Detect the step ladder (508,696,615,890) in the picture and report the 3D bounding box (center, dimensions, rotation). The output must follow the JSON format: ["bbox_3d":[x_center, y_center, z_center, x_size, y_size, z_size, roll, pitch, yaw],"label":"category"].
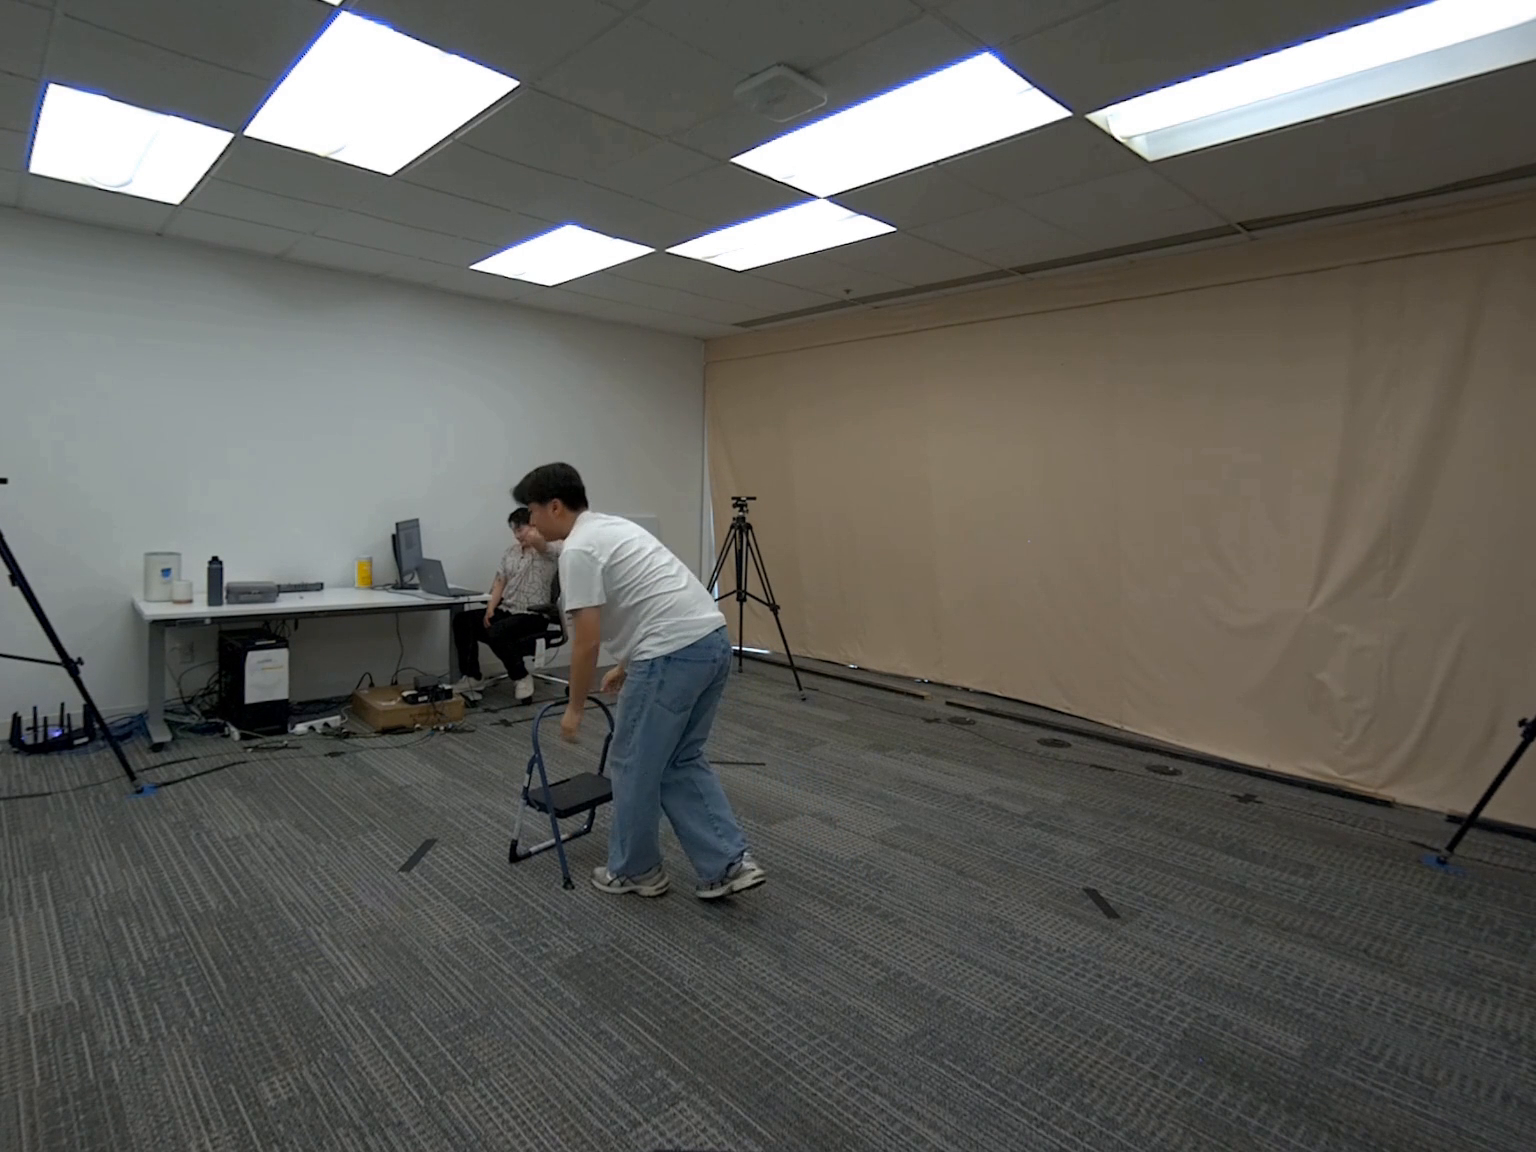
[{"bbox_3d":[-0.724,0.779,3.224,0.357,0.605,0.421,3,4,35],"label":"step ladder"}]
